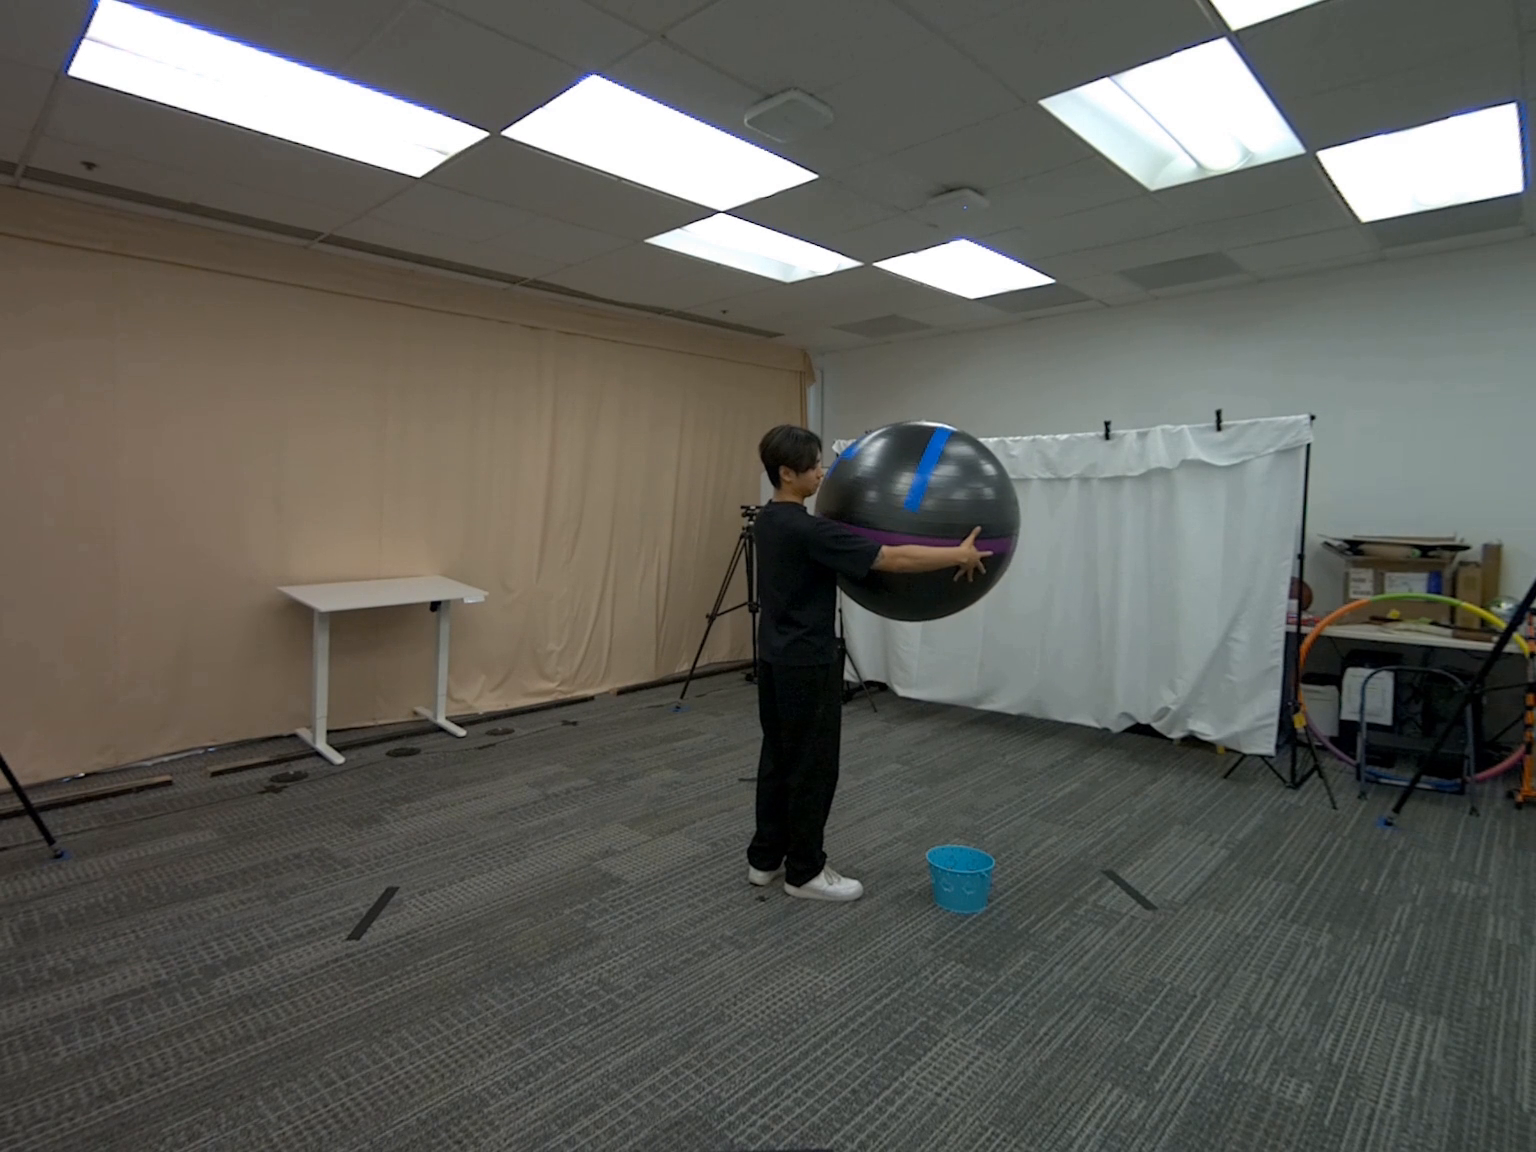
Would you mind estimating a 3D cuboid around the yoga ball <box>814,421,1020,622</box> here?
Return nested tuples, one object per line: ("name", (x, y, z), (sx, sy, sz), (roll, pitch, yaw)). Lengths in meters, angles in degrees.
("yoga ball", (0.572, -0.202, 3.222), (0.757, 0.756, 0.760), (0, 4, -2))
